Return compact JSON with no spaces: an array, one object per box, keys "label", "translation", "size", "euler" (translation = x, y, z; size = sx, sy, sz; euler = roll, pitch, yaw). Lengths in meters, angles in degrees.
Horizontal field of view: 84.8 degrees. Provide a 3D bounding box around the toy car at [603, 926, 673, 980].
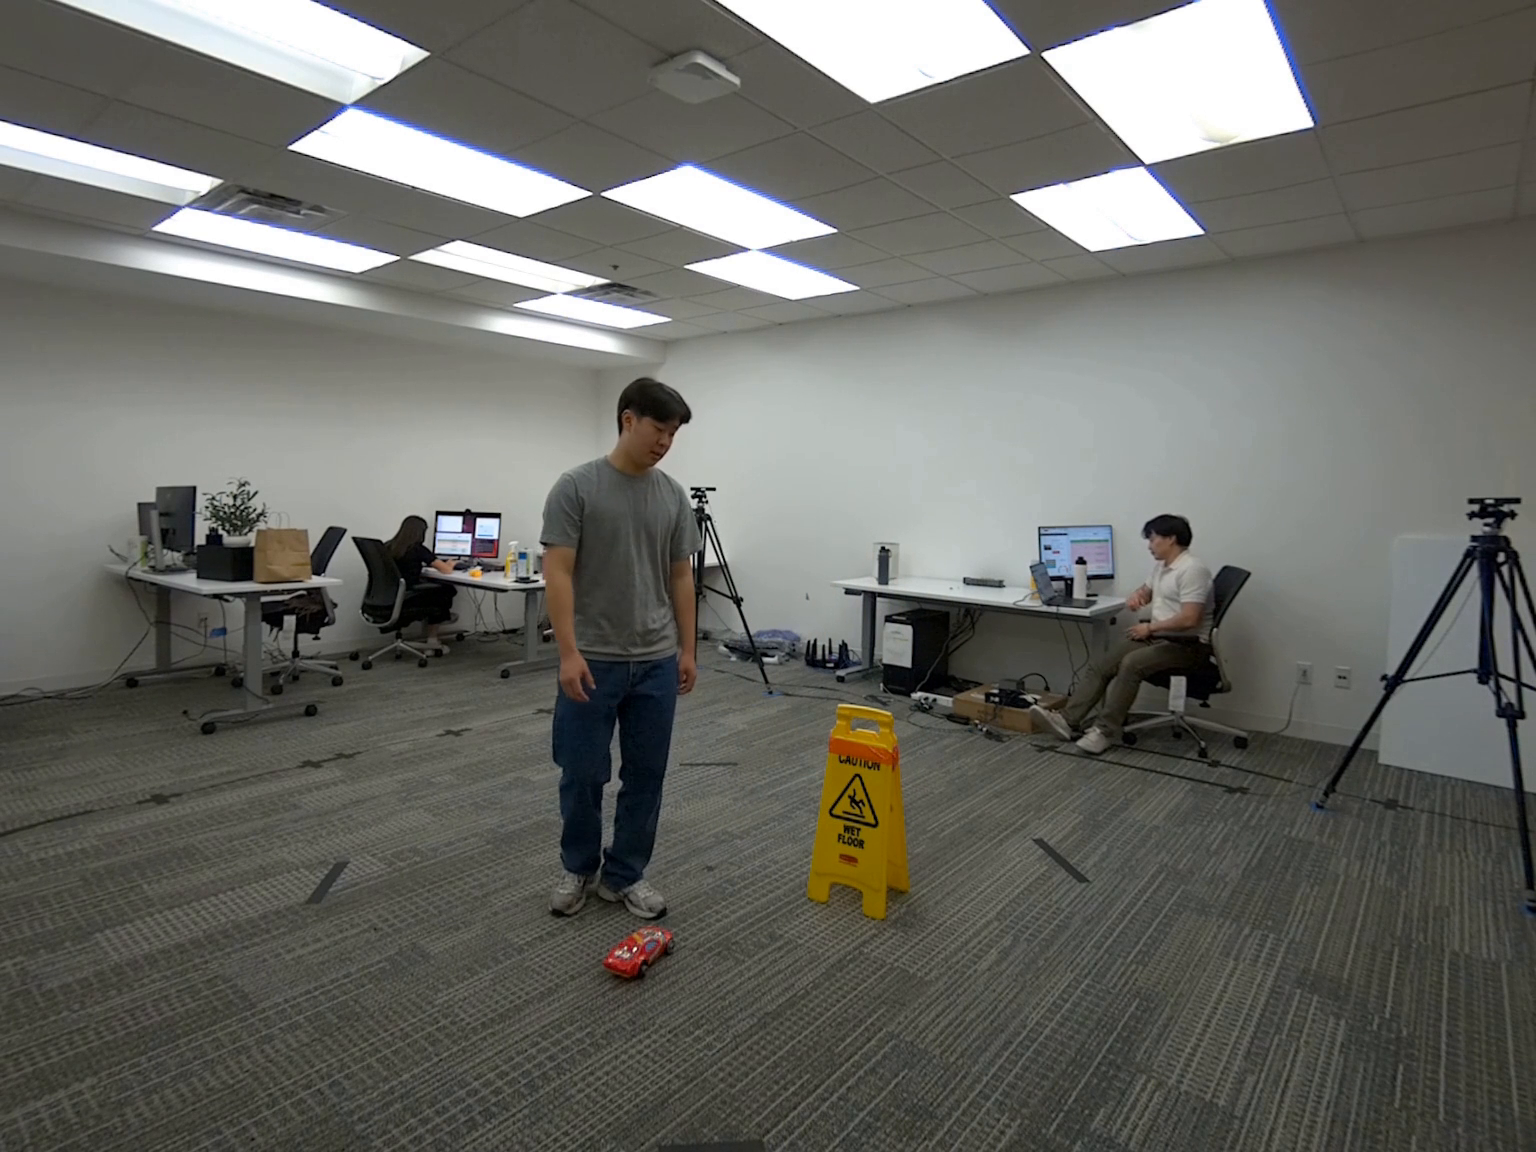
[{"label":"toy car","translation":[-0.389,1.096,2.468],"size":[0.134,0.083,0.246],"euler":[5,-4,26]}]
